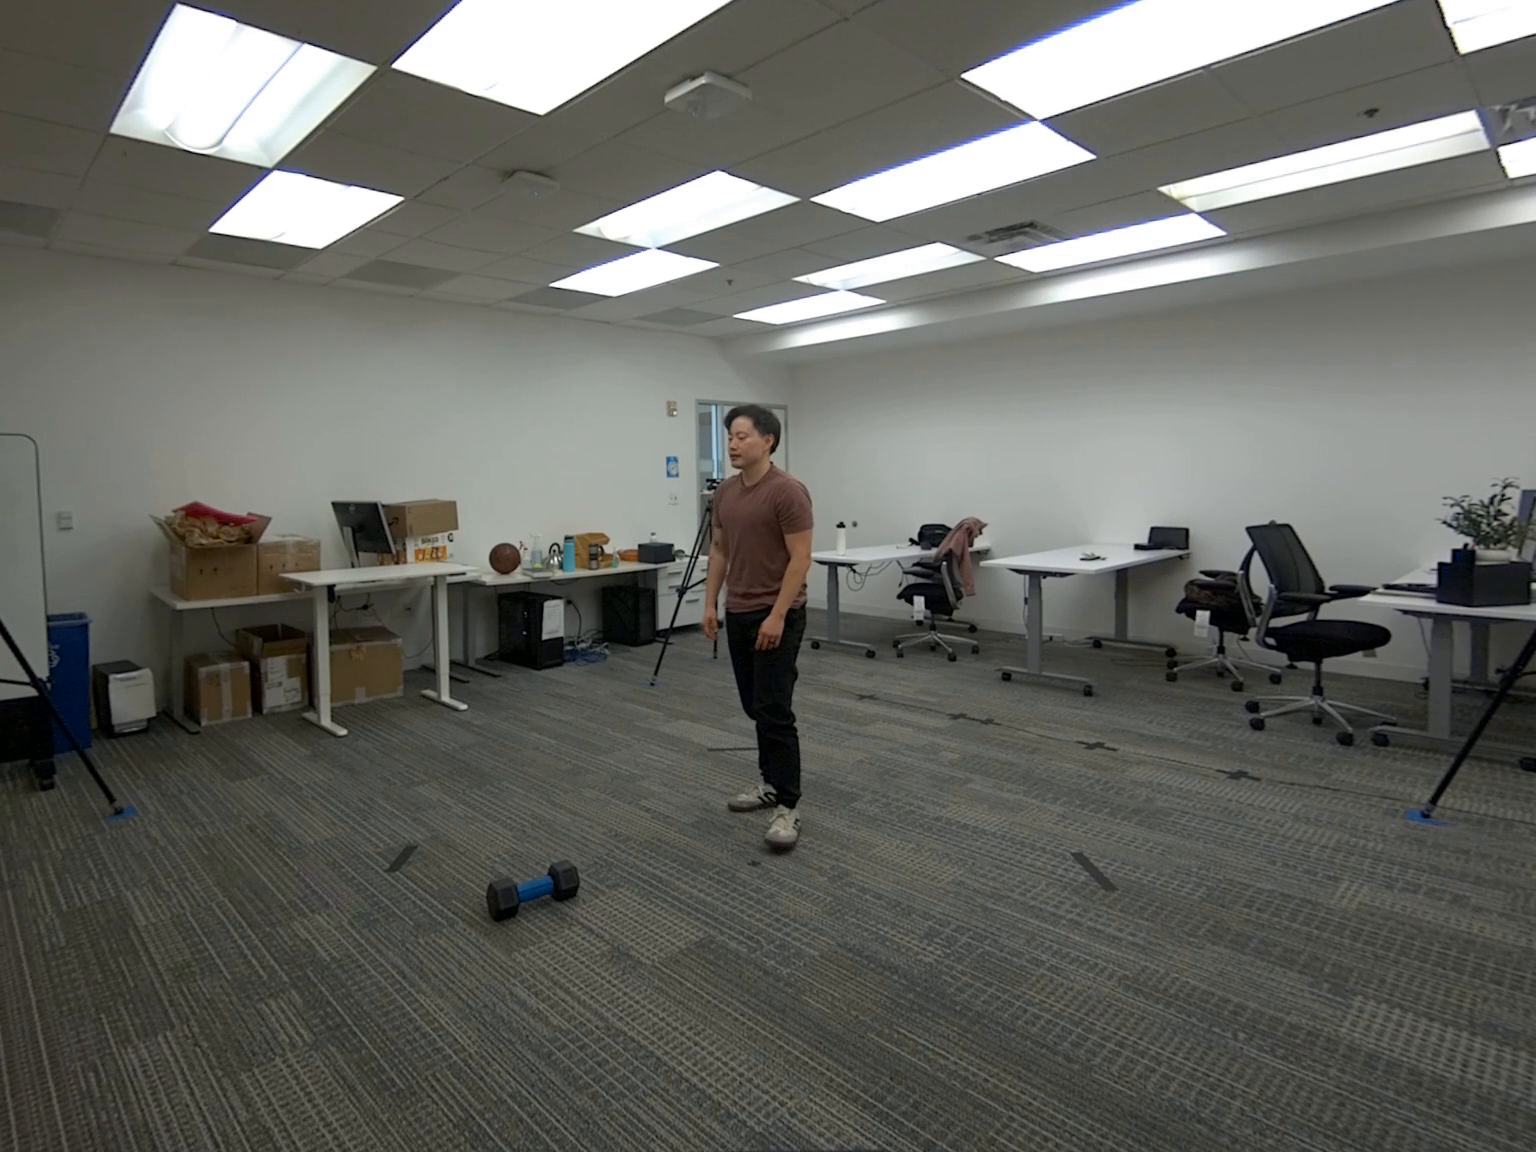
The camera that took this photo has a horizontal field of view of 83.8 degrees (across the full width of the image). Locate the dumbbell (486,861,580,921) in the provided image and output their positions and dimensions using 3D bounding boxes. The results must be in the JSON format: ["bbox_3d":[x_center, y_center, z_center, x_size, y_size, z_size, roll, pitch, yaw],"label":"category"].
[{"bbox_3d":[-0.771,1.037,2.823,0.286,0.126,0.109,-6,-24,-35],"label":"dumbbell"}]
